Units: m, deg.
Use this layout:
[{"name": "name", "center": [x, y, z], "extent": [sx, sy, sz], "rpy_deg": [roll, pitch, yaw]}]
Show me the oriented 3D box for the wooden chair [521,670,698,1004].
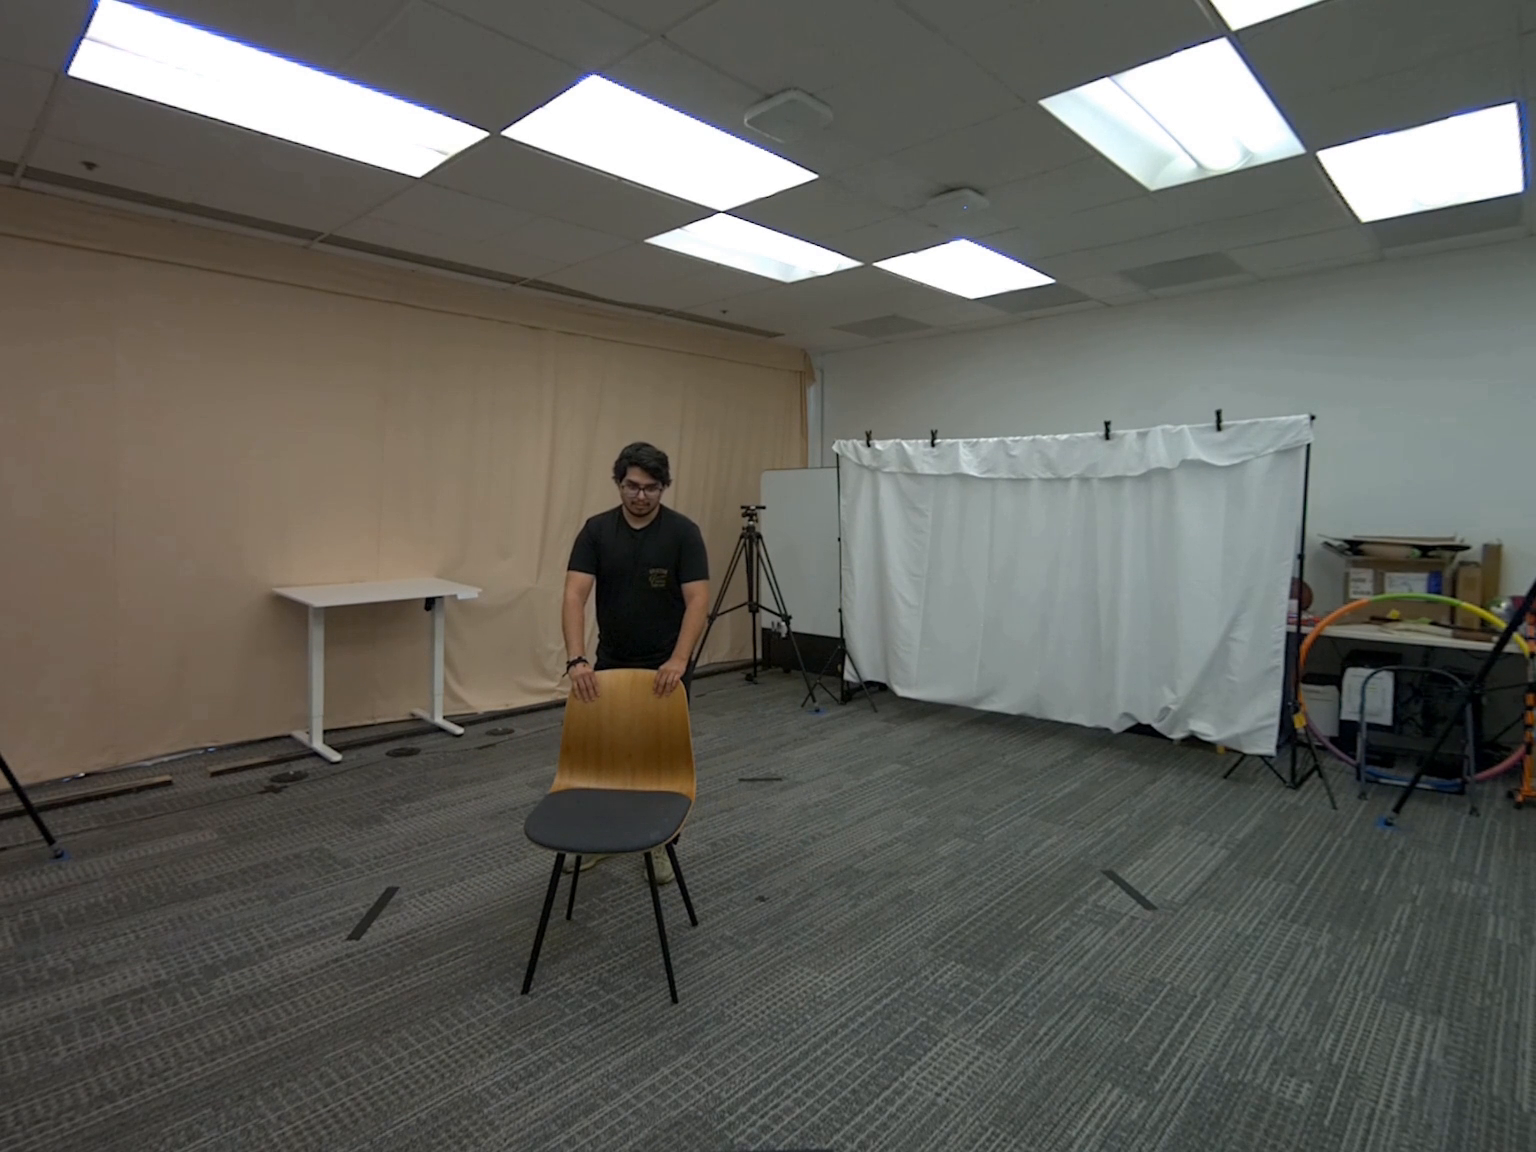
[{"name": "wooden chair", "center": [-0.458, 0.751, 2.565], "extent": [0.481, 0.878, 0.520], "rpy_deg": [0, -1, 4]}]
